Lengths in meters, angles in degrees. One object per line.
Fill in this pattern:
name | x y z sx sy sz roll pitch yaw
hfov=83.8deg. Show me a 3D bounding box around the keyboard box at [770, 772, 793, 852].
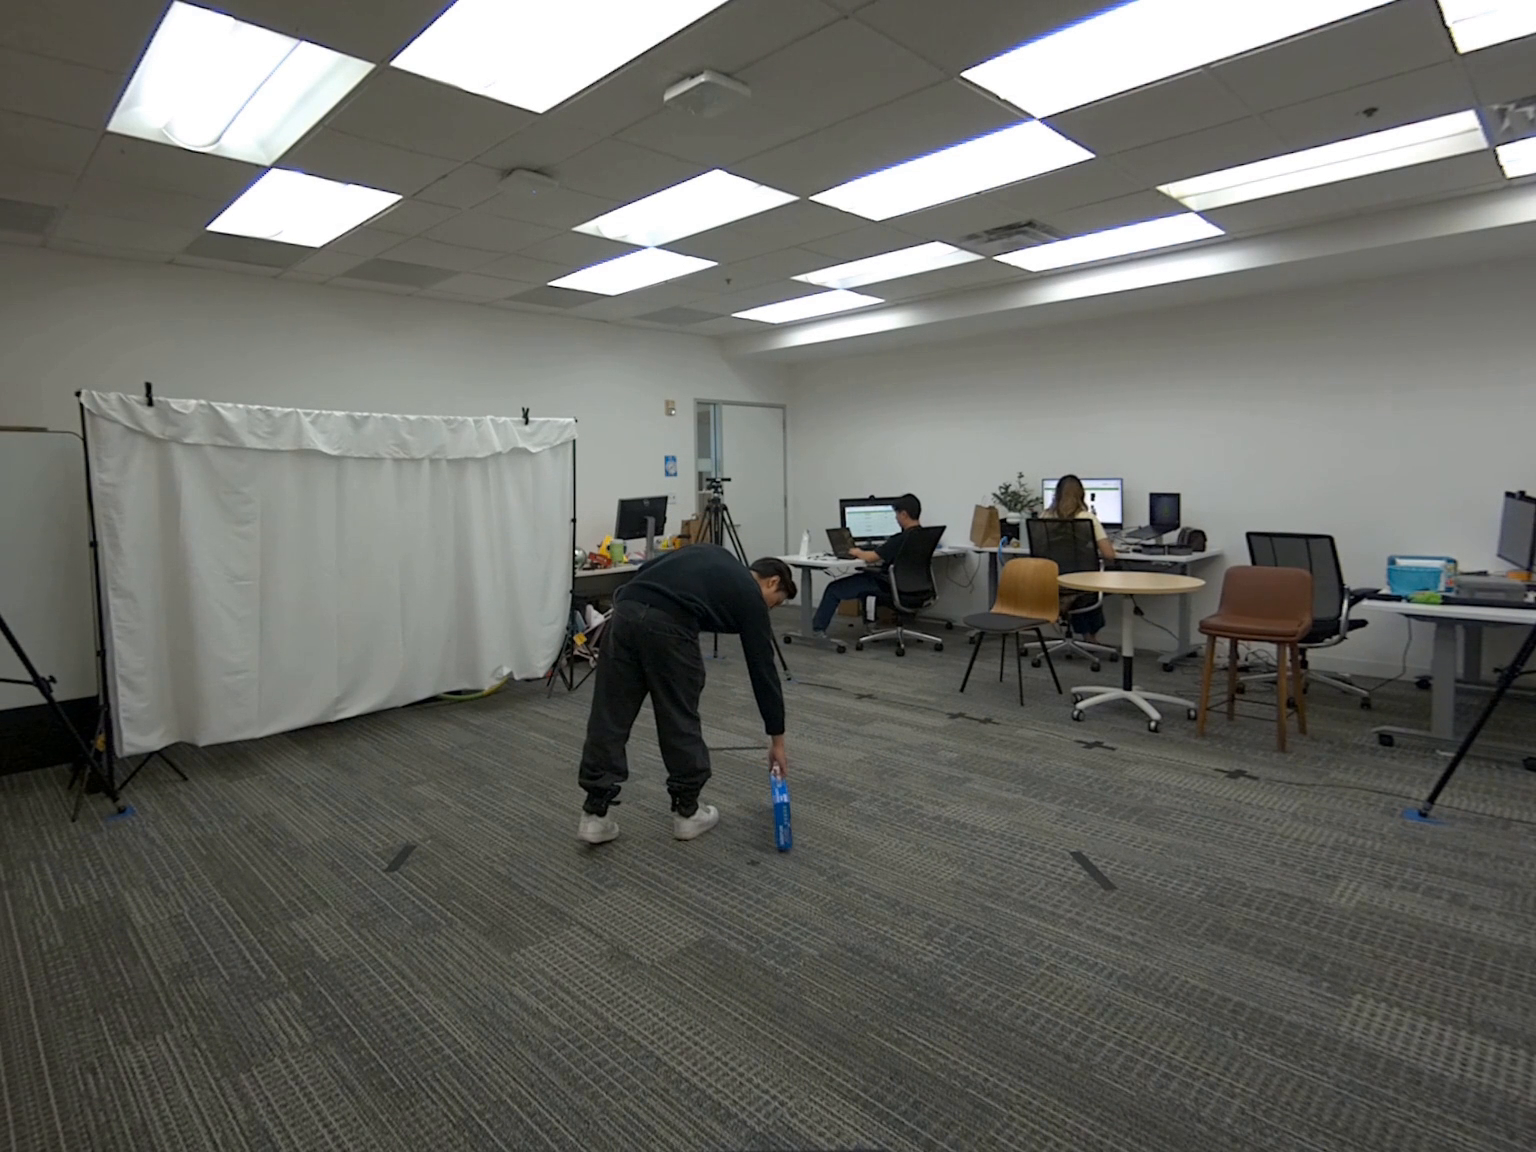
keyboard box | 0.047 0.902 3.394 0.059 0.175 0.438 -3 5 -2
